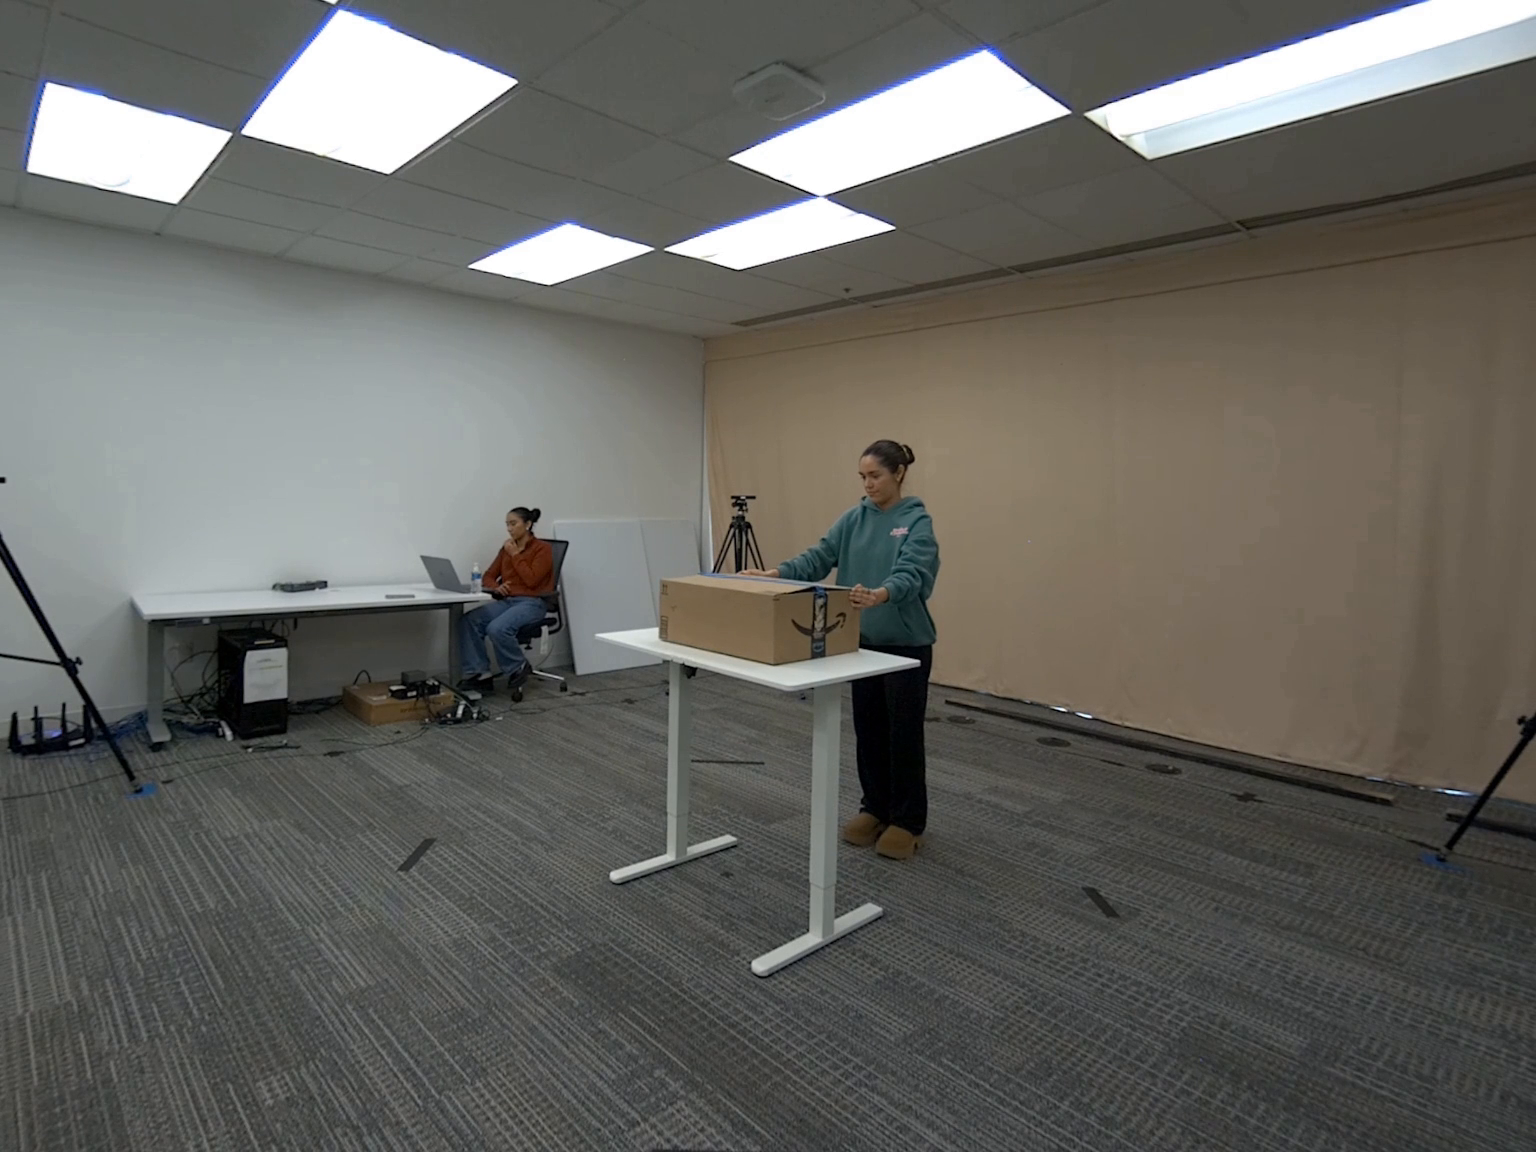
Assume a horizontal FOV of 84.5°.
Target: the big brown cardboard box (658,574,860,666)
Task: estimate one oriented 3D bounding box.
[{"bbox_3d":[-0.040,0.137,2.889,0.408,0.232,0.604,-3,6,-45],"label":"big brown cardboard box"}]
